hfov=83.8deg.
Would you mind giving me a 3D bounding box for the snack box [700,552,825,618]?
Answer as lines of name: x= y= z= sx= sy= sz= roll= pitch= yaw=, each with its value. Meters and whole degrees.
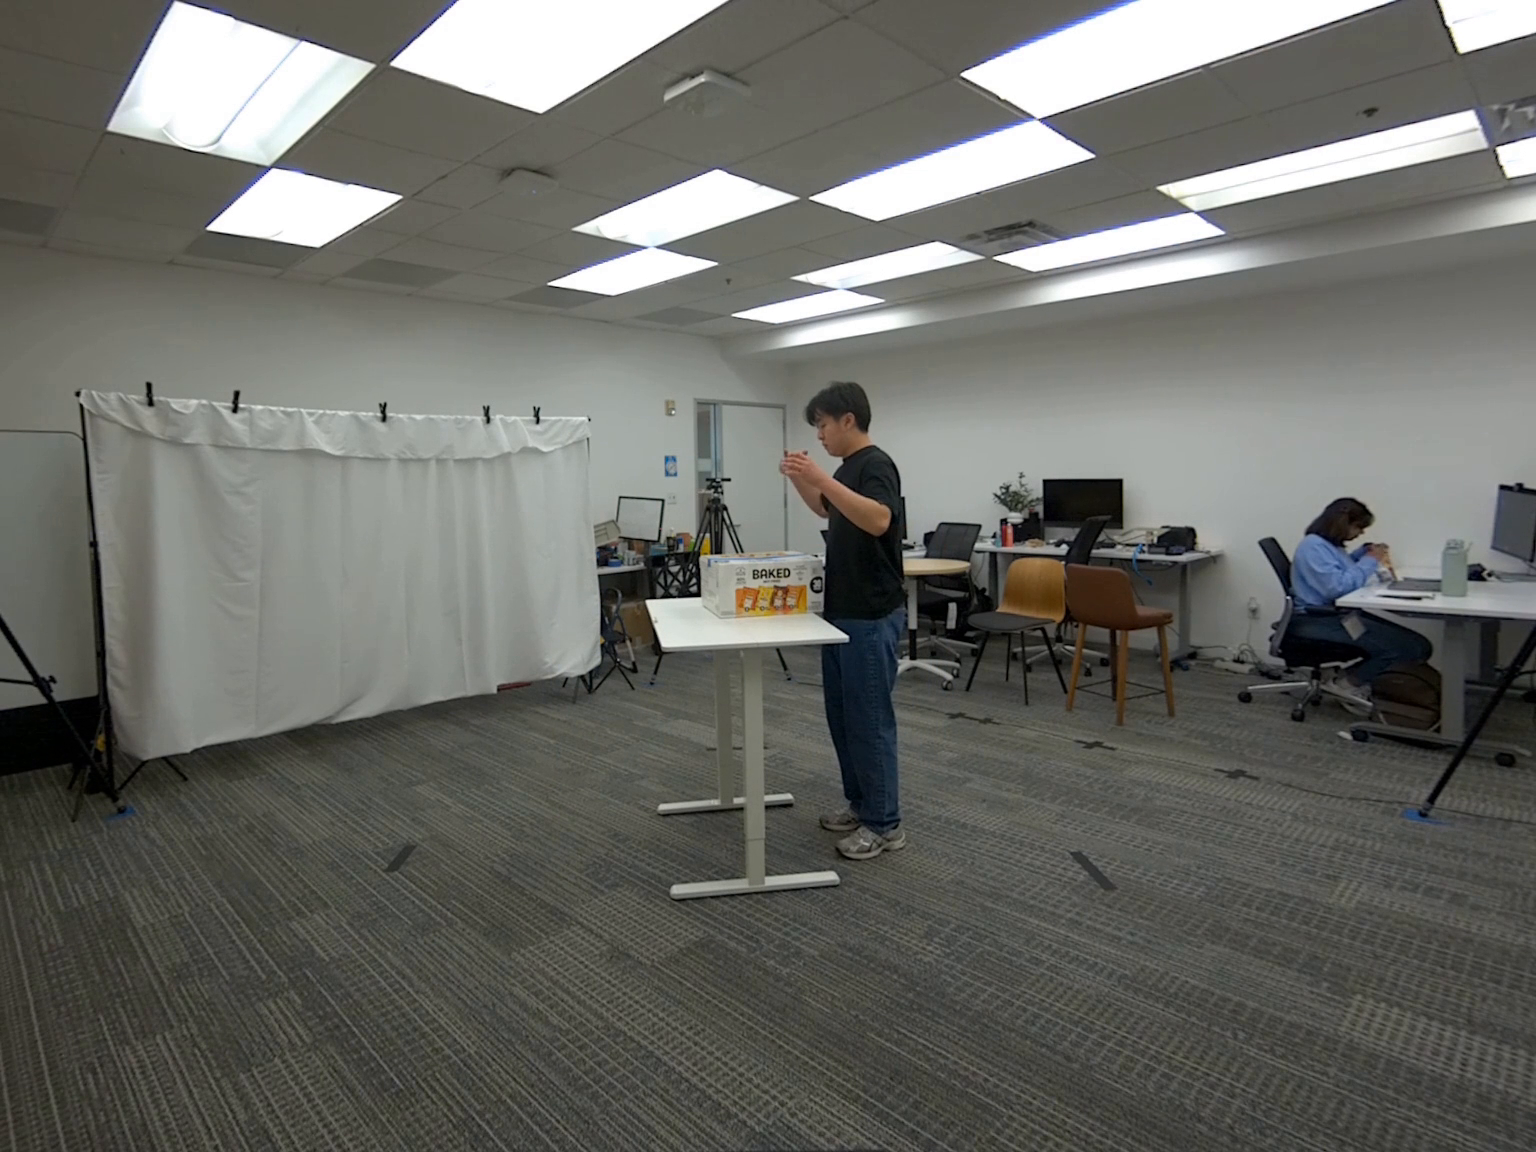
snack box: x=-0.028 y=0.025 z=3.340 sx=0.400 sy=0.205 sz=0.346 roll=-3 pitch=6 yaw=-15
